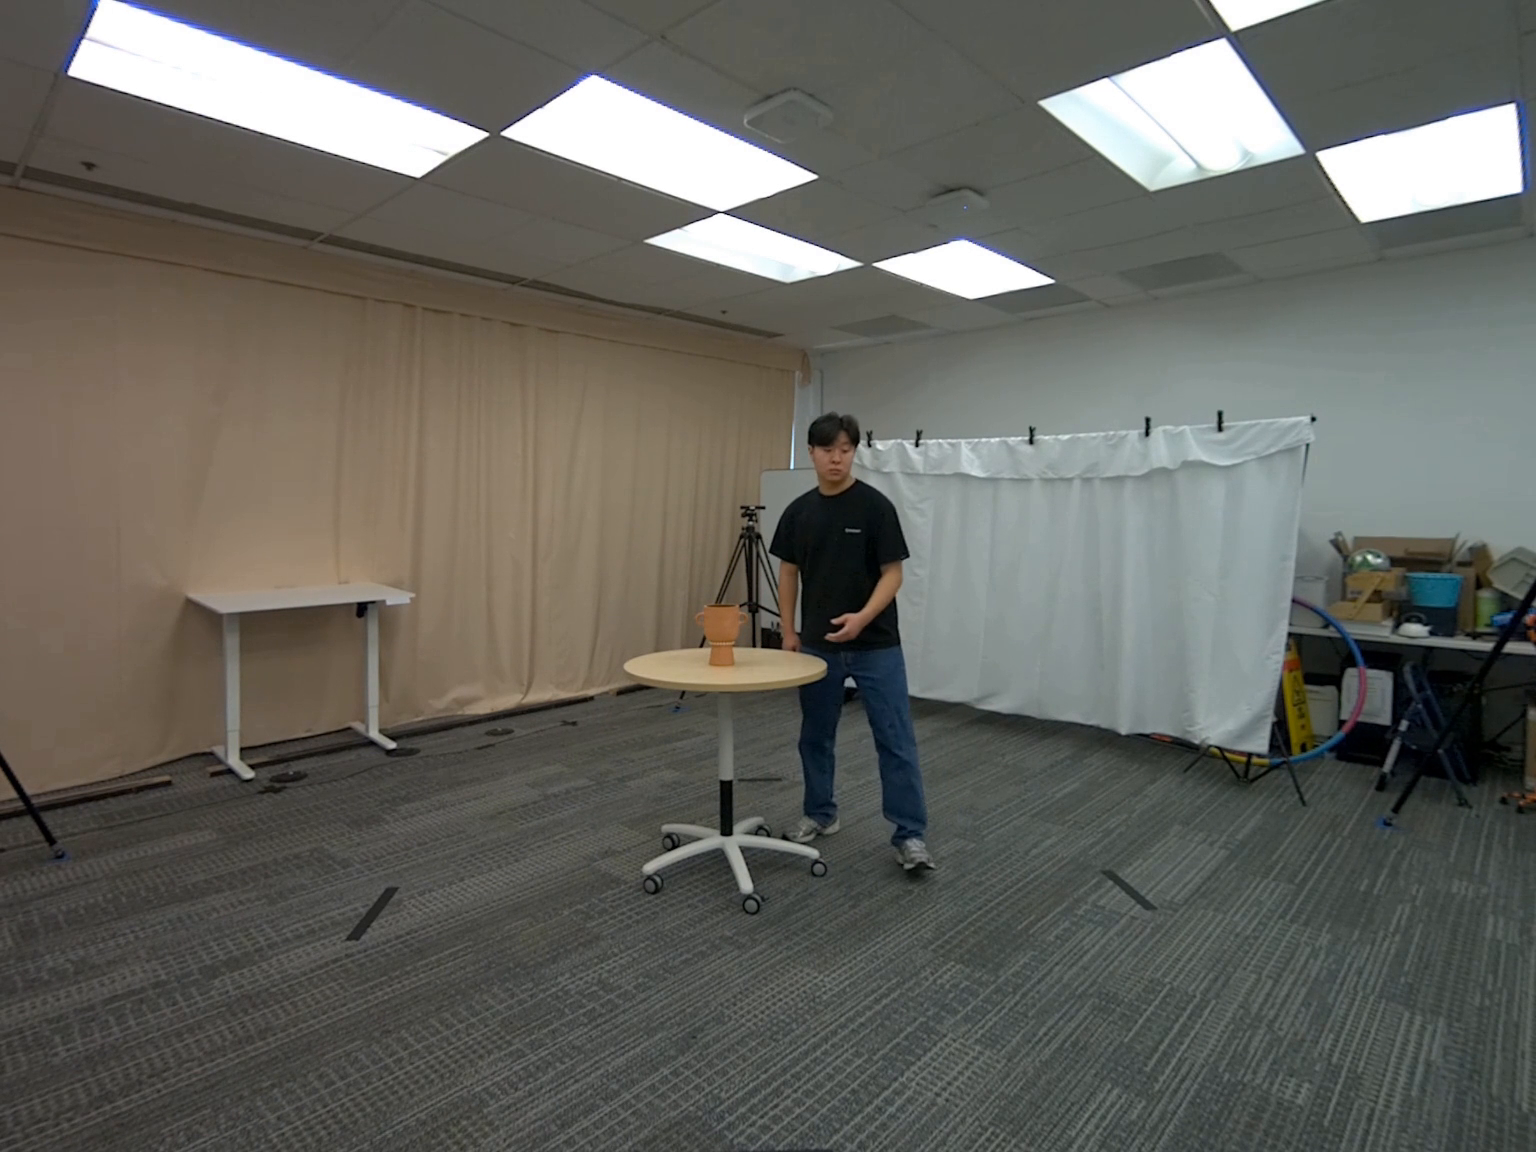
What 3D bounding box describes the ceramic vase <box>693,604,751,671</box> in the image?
[{"bbox_3d":[-0.174,0.223,3.165,0.164,0.219,0.131,2,4,37],"label":"ceramic vase"}]
